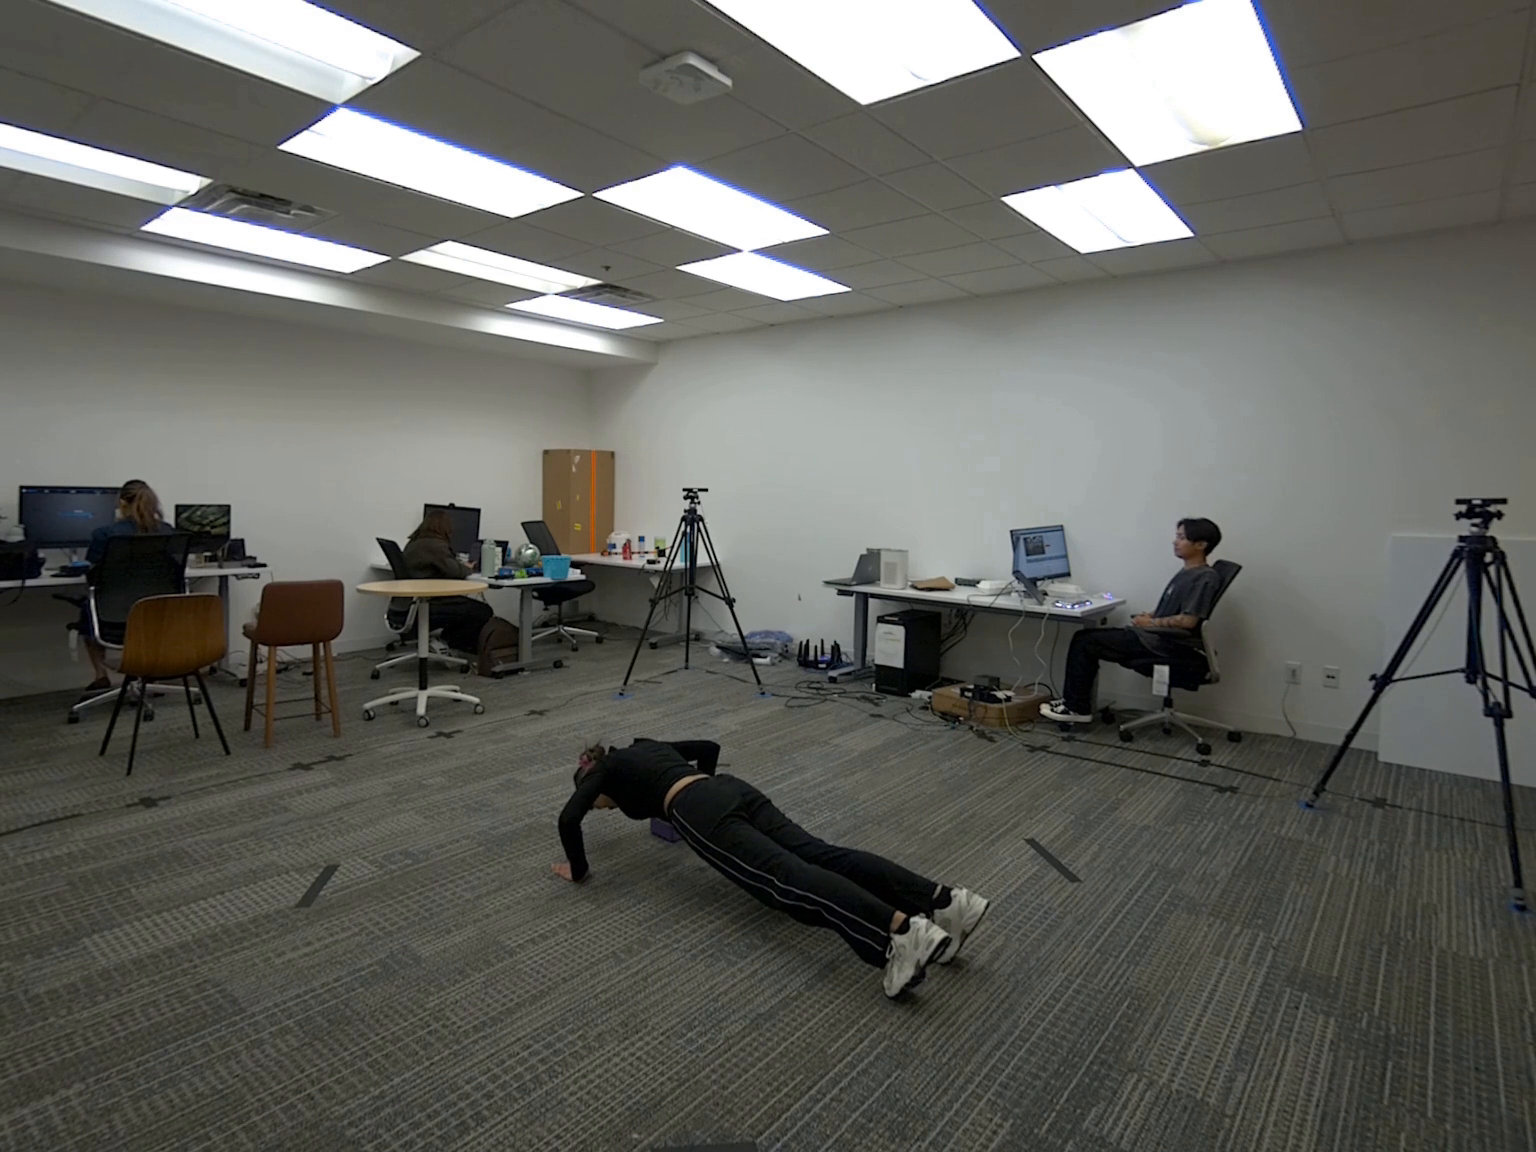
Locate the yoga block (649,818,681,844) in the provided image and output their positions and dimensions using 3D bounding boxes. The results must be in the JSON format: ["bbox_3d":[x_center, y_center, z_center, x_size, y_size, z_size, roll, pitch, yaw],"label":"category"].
[{"bbox_3d":[-0.355,0.994,3.455,0.154,0.076,0.222,4,5,44],"label":"yoga block"}]
